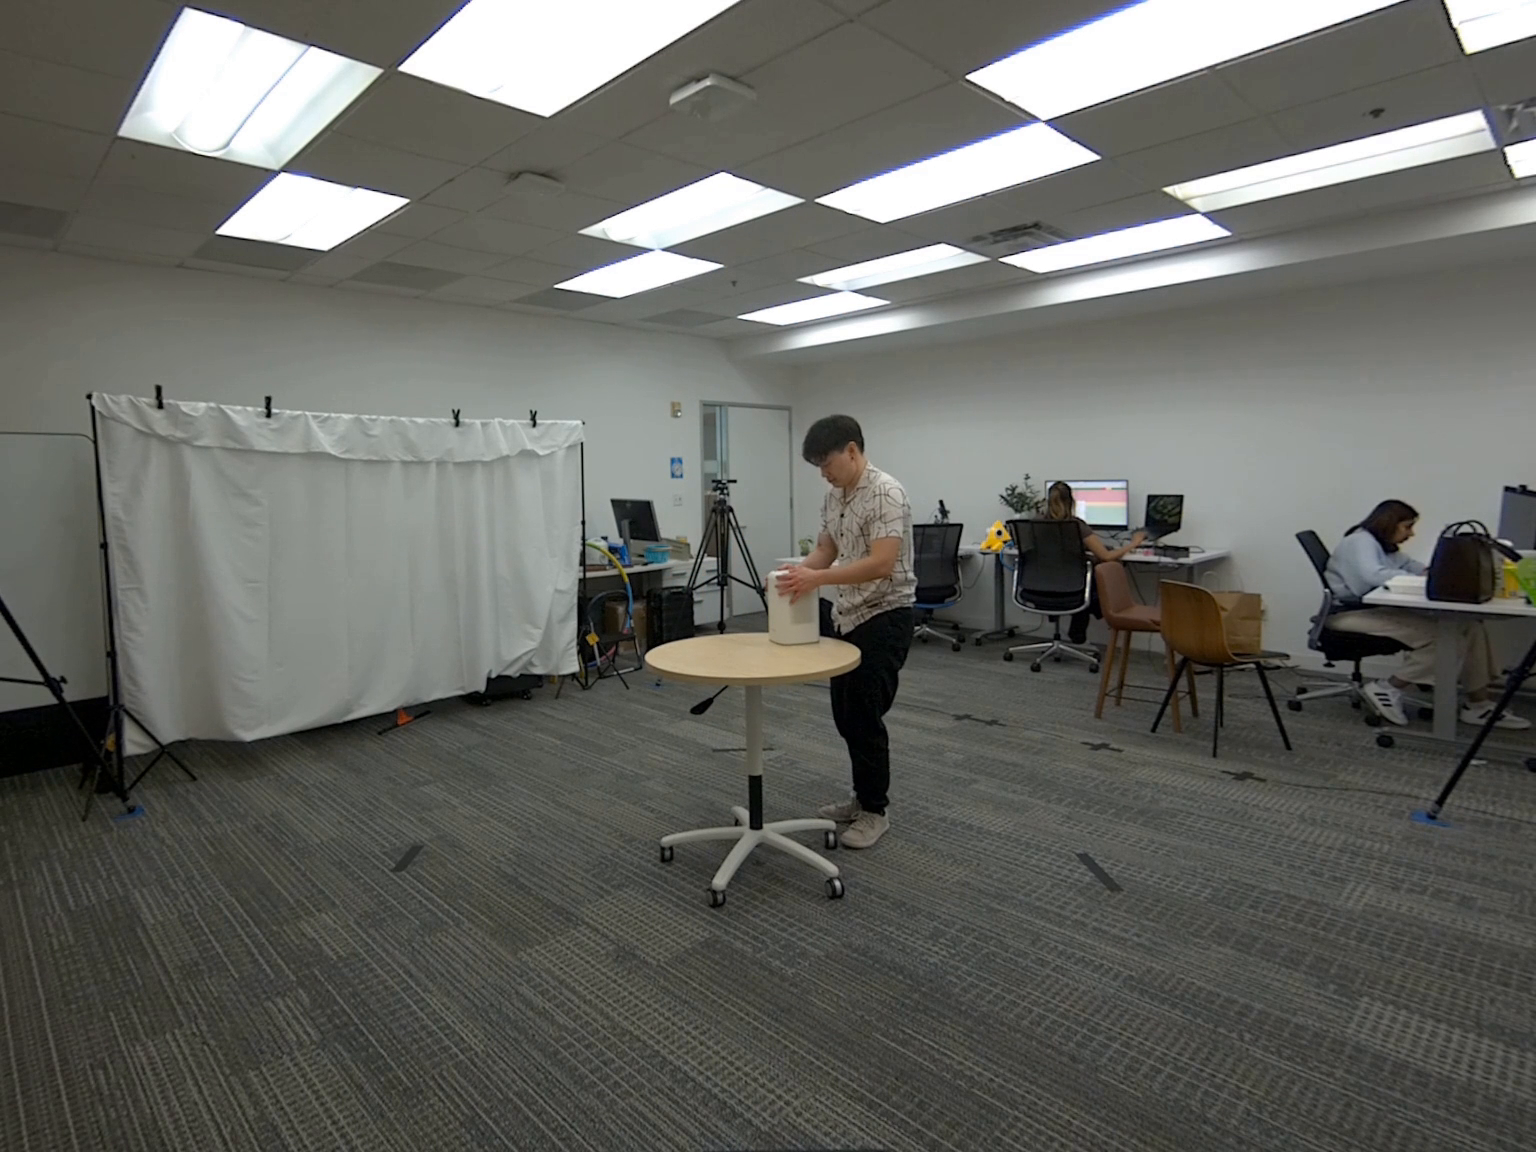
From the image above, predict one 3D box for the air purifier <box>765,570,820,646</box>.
[{"bbox_3d":[0.096,0.117,3.241,0.169,0.265,0.174,-2,2,-15],"label":"air purifier"}]
